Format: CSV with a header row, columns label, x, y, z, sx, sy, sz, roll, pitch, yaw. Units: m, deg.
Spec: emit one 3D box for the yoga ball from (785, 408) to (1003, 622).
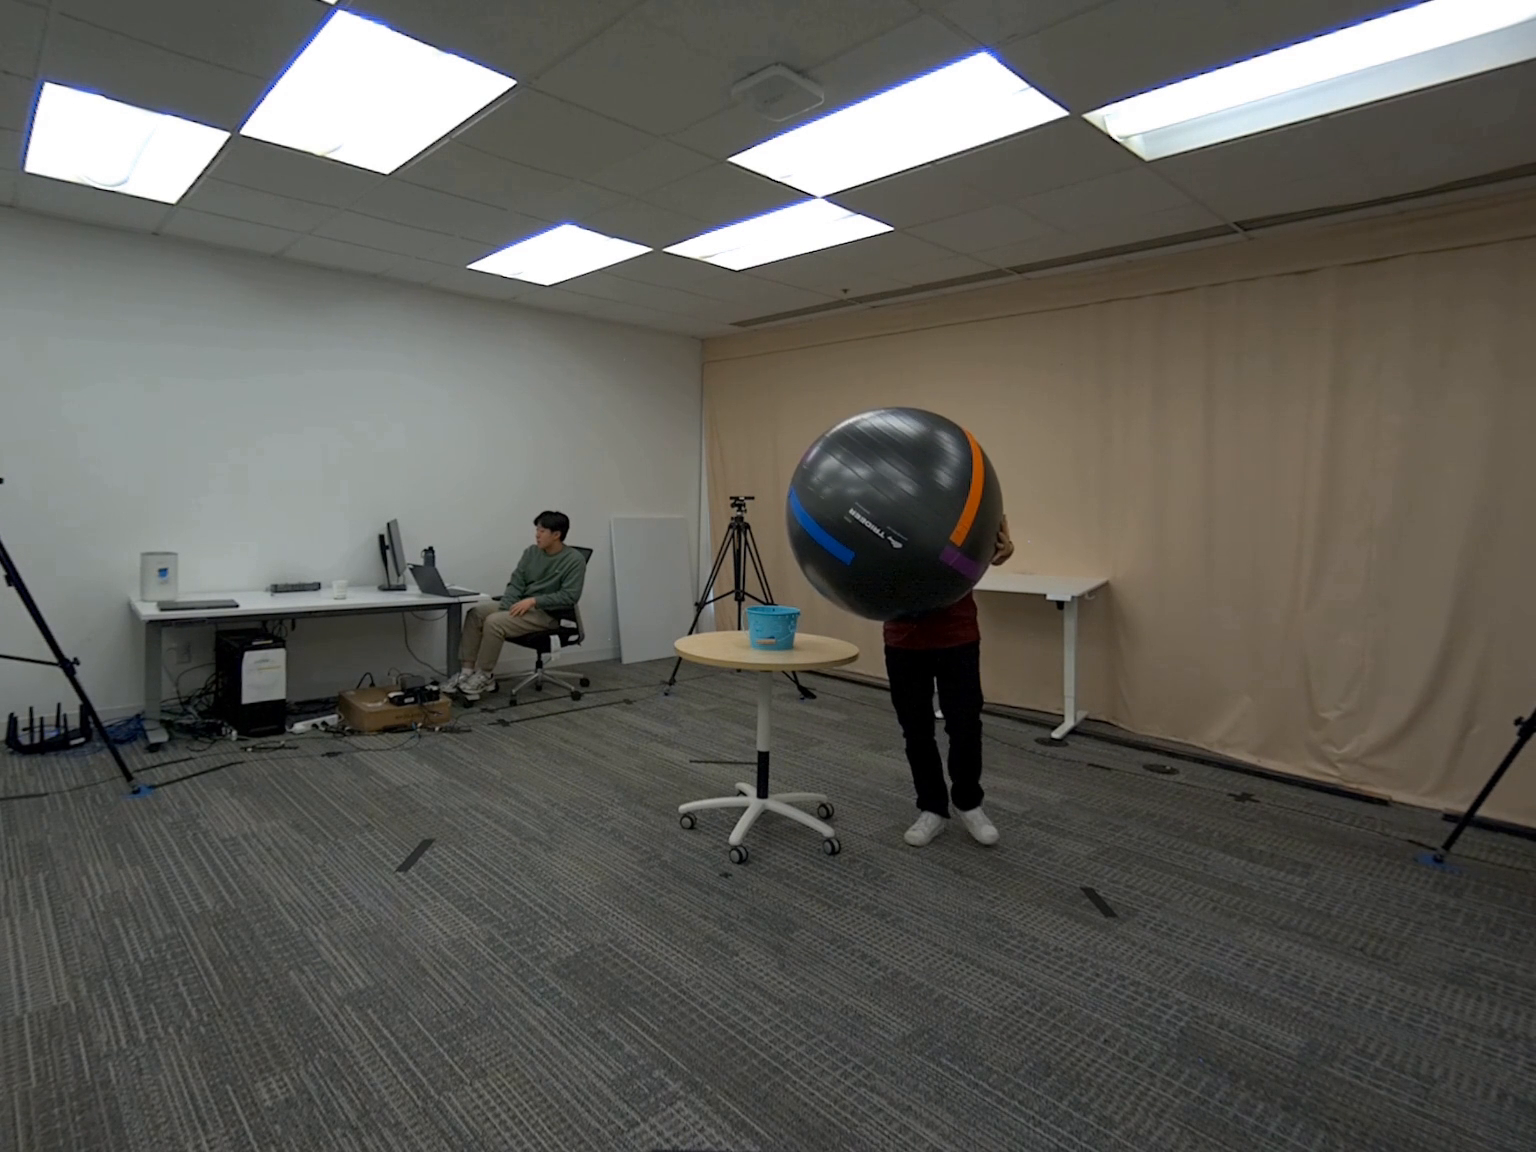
label,x,y,z,sx,sy,sz,roll,pitch,yaw
yoga ball,0.444,-0.217,2.991,0.757,0.756,0.761,1,4,-1
